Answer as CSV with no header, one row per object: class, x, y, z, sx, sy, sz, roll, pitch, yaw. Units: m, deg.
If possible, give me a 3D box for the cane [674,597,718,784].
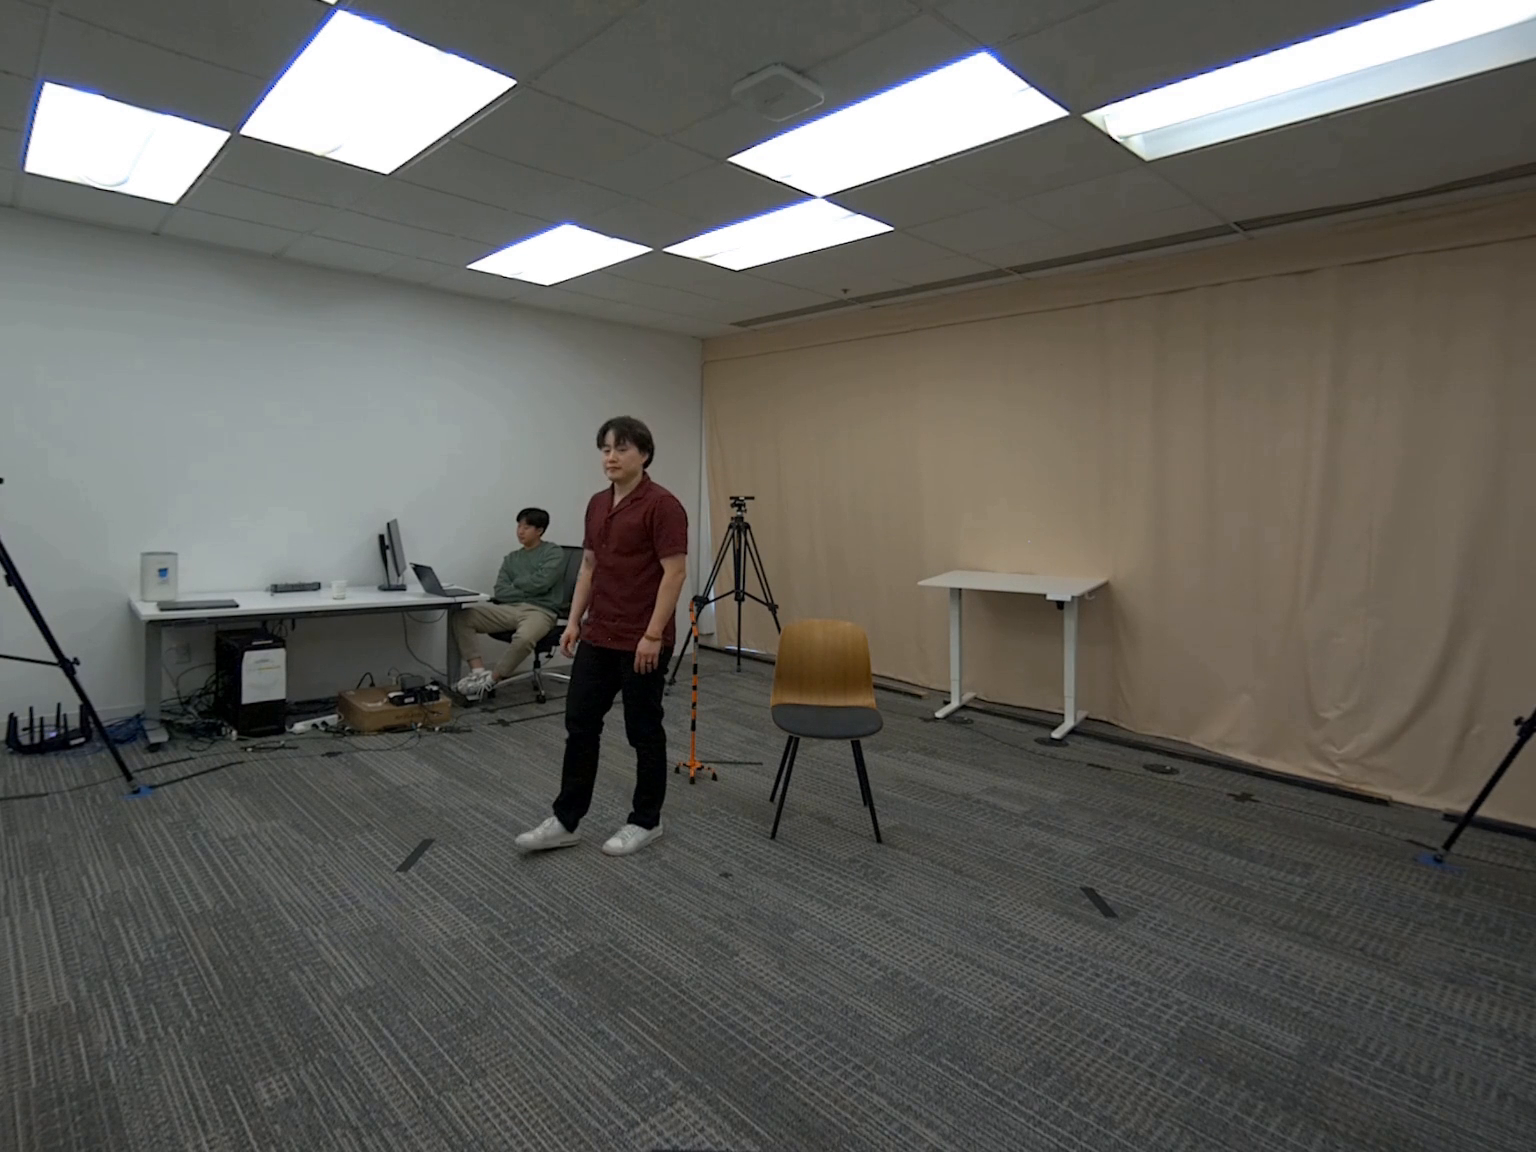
cane,-0.362,0.553,4.193,0.148,0.905,0.211,0,4,-31
